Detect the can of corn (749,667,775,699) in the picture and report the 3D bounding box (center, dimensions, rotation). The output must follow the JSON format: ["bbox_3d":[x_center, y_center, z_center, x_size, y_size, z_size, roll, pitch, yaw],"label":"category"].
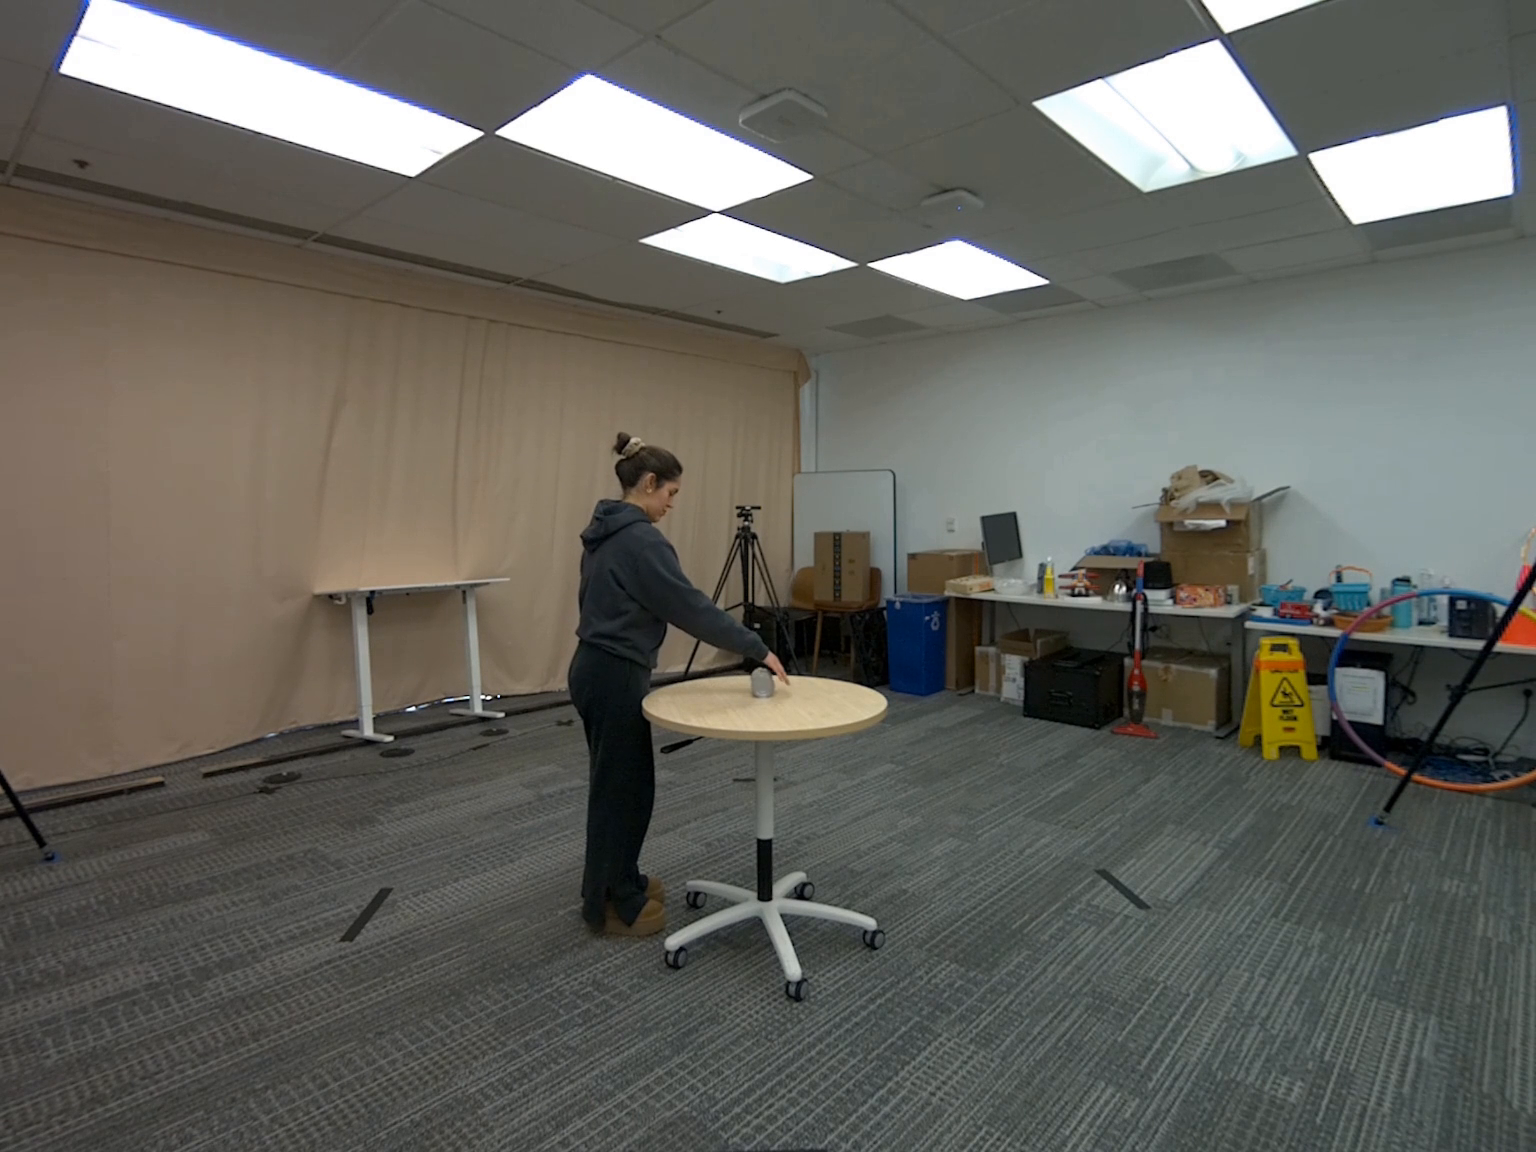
[{"bbox_3d":[-0.009,0.345,2.717,0.074,0.074,0.111,0,5,1],"label":"can of corn"}]
